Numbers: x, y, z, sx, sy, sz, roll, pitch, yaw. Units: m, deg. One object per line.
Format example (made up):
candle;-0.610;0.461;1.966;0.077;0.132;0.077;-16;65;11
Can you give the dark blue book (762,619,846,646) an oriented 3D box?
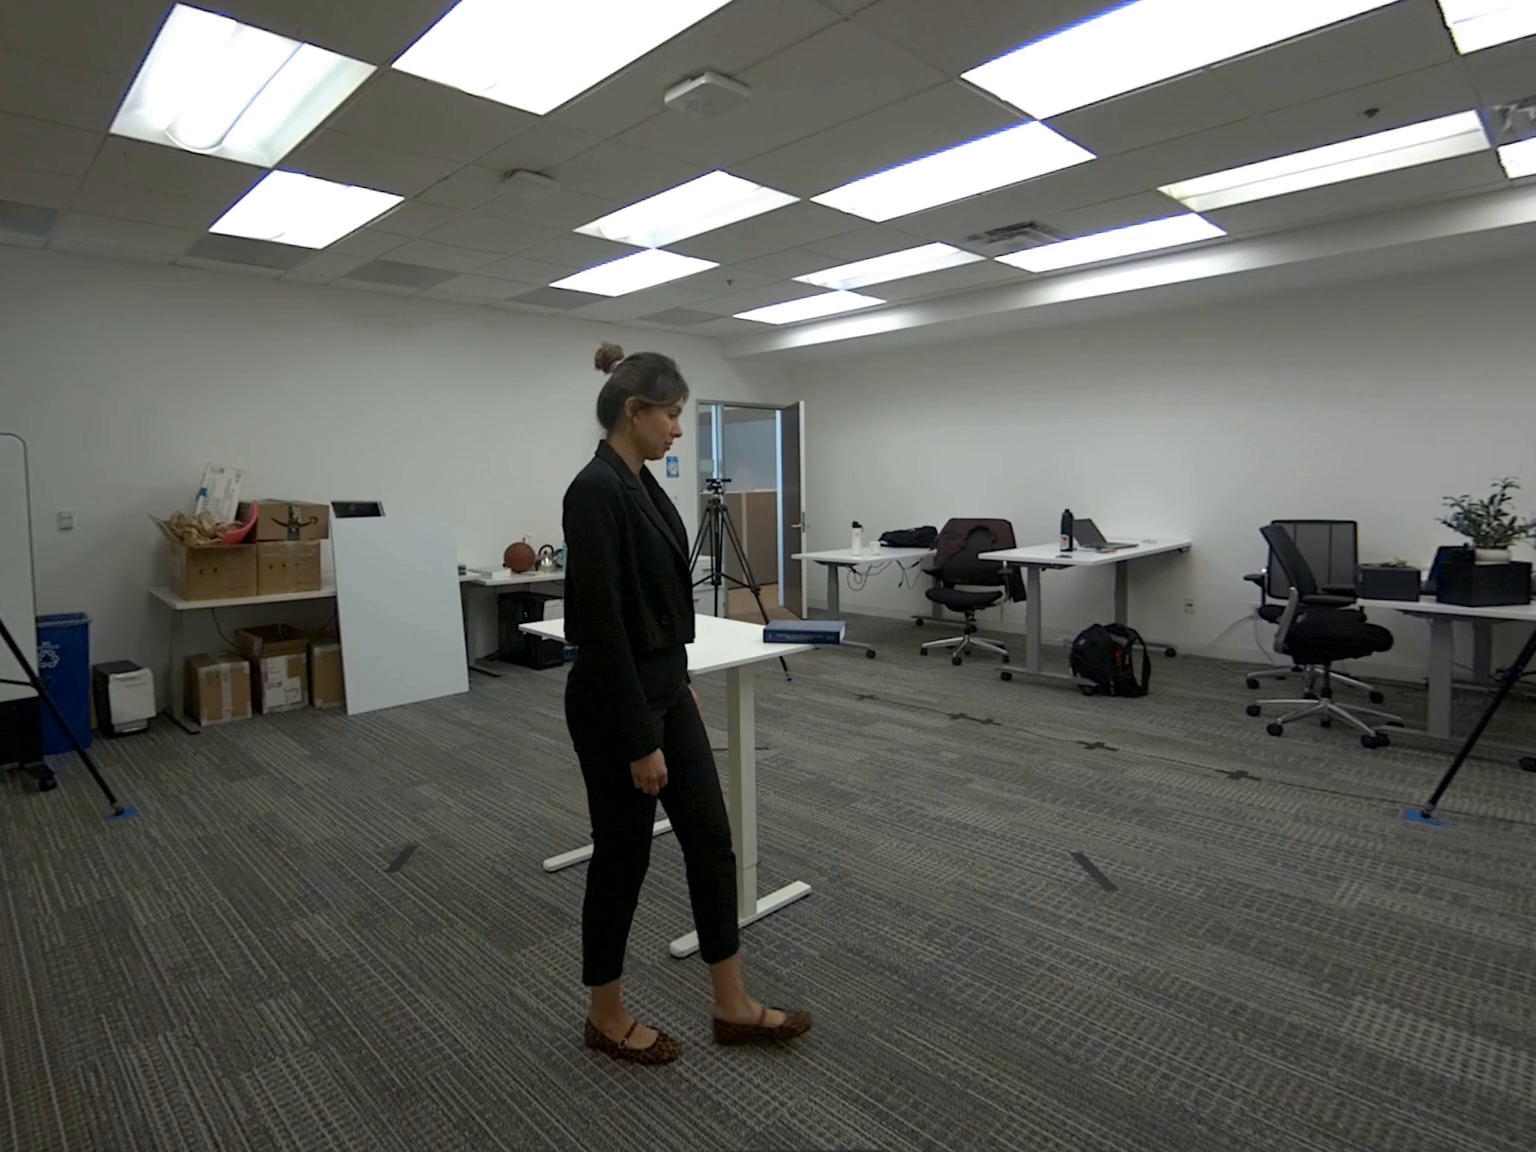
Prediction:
dark blue book;0.118;0.176;2.737;0.248;0.045;0.162;0;8;13
